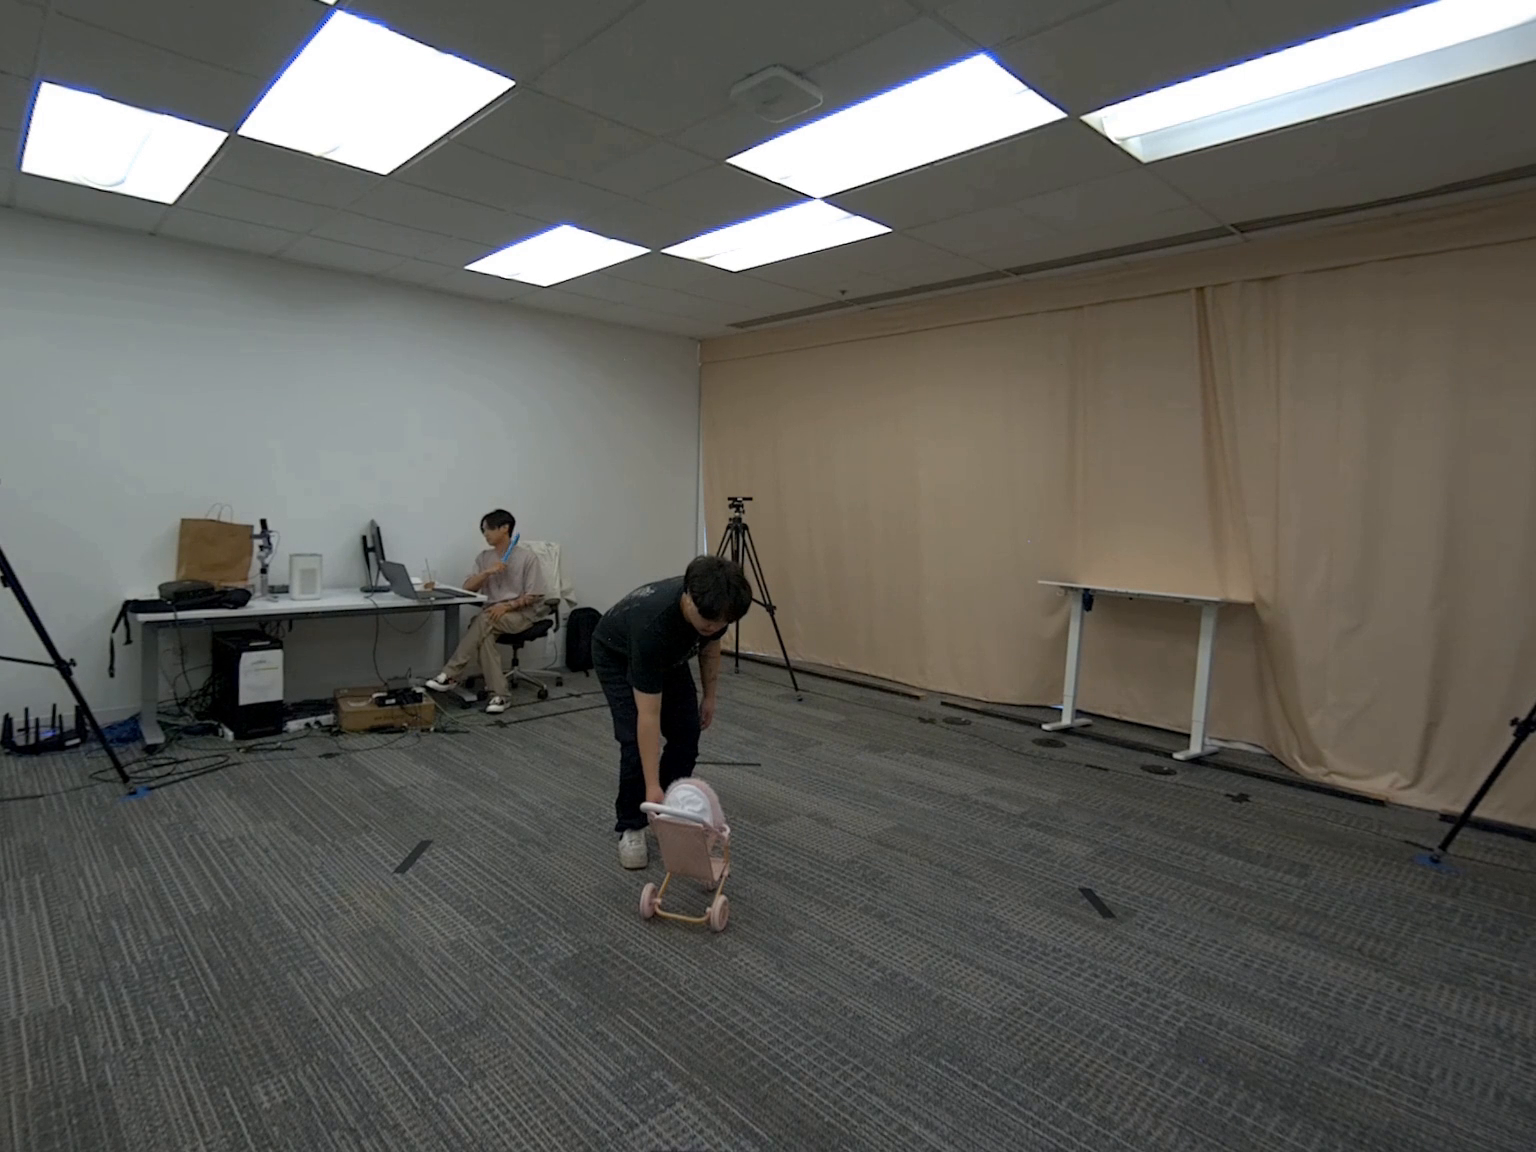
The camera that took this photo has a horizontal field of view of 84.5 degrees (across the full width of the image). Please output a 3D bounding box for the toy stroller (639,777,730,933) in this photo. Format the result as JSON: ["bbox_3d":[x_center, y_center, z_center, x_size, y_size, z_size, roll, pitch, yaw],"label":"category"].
[{"bbox_3d":[-0.251,0.909,2.801,0.286,0.528,0.340,3,18,21],"label":"toy stroller"}]
